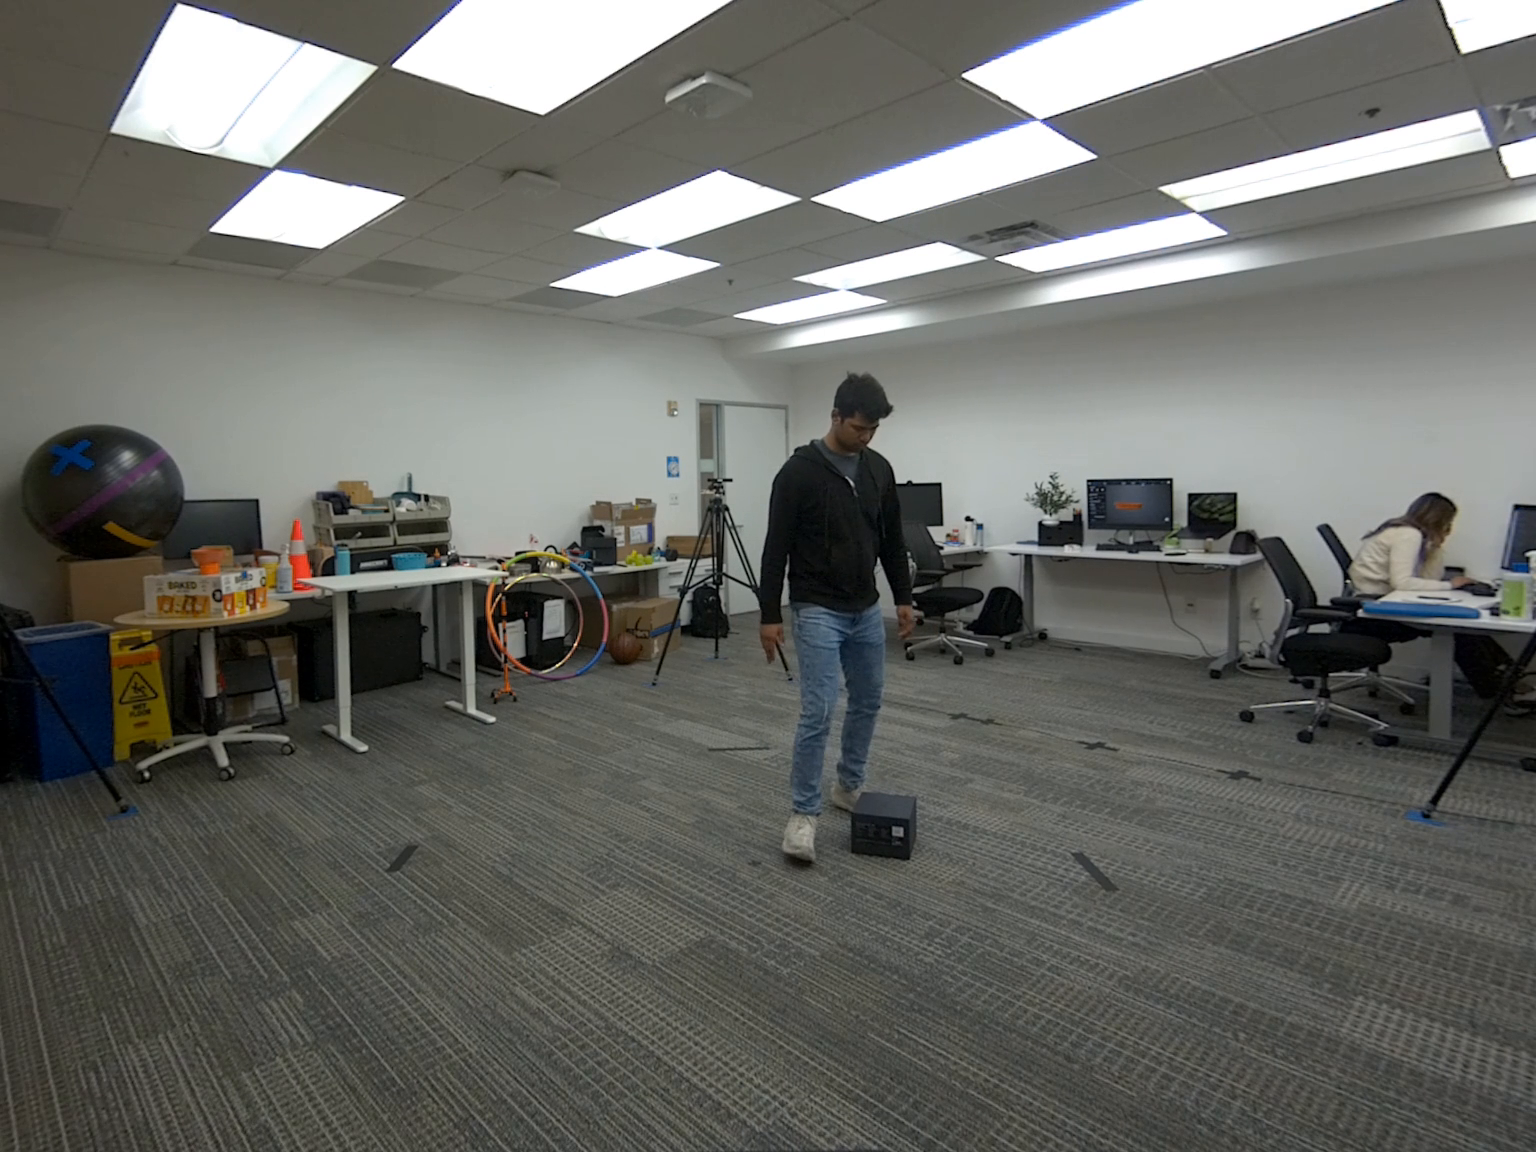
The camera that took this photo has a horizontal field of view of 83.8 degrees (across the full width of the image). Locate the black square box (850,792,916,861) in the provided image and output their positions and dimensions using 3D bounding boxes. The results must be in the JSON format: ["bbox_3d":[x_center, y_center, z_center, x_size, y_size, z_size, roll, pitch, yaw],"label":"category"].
[{"bbox_3d":[0.446,0.942,3.237,0.221,0.155,0.225,0,5,18],"label":"black square box"}]
